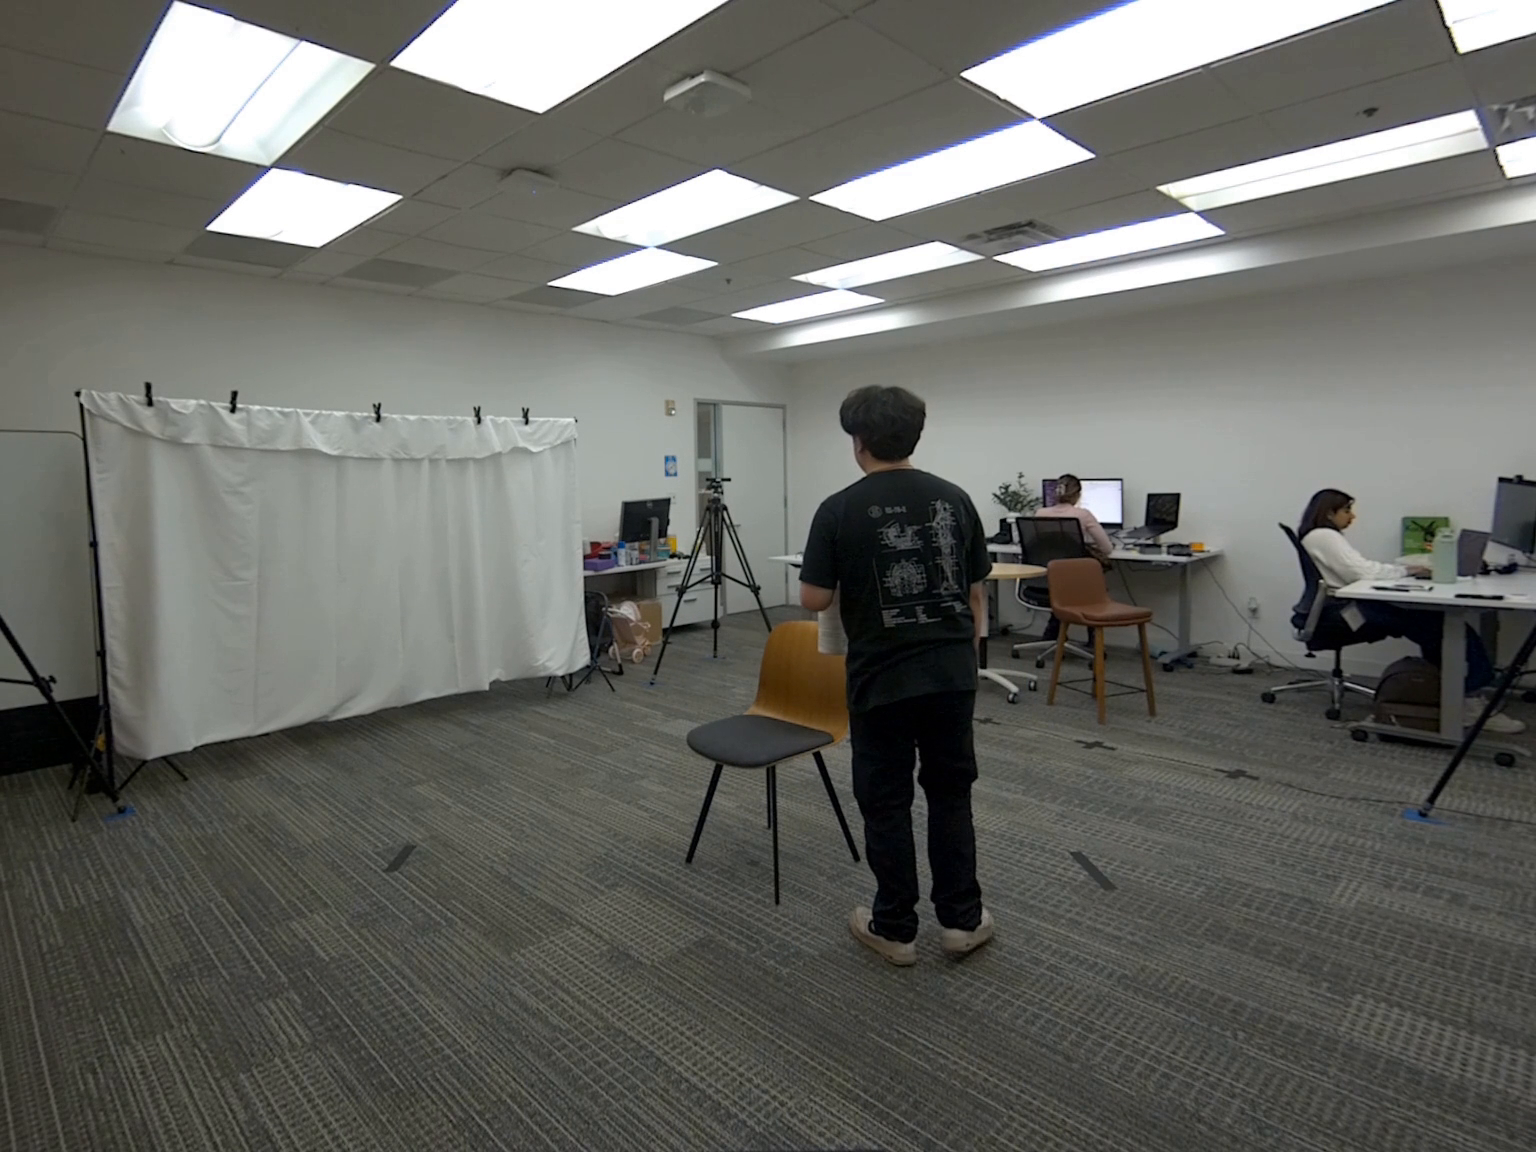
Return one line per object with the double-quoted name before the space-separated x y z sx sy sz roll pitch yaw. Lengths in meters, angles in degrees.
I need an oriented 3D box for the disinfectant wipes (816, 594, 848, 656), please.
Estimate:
"disinfectant wipes" 0.231 0.143 2.764 0.118 0.217 0.118 0 3 -2
